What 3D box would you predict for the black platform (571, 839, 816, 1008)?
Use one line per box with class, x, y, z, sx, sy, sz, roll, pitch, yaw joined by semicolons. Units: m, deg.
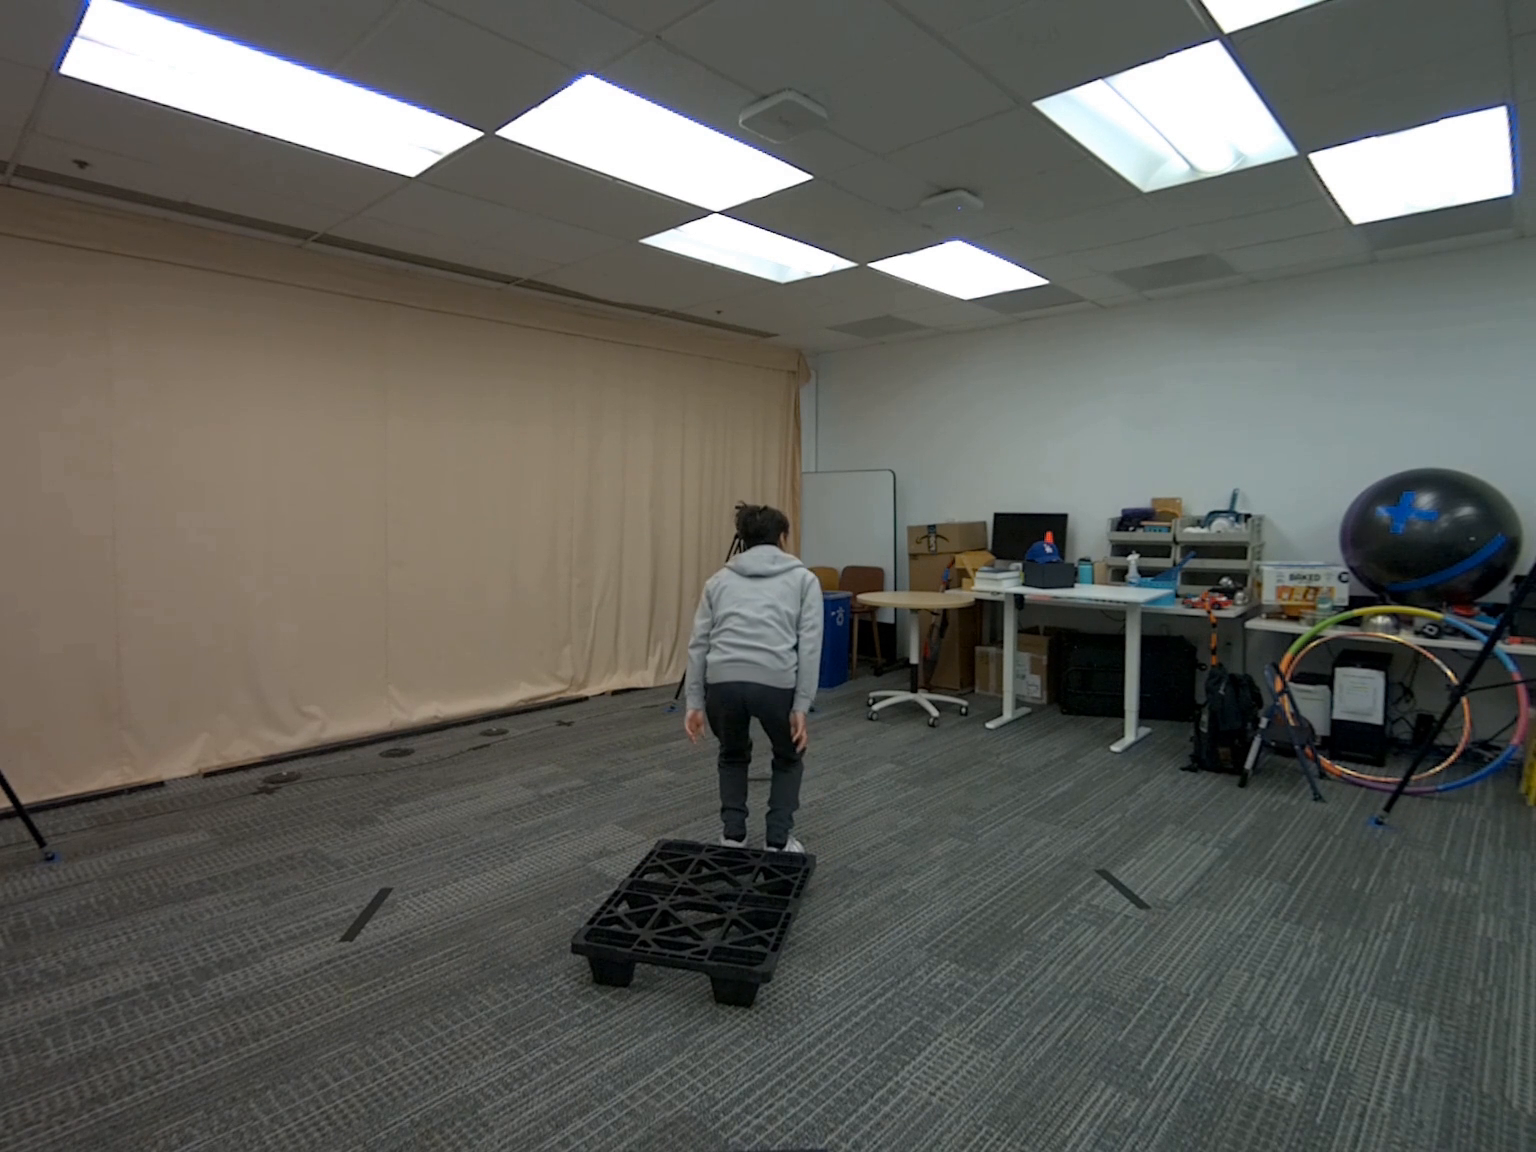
black platform;-0.197;1.100;2.743;0.615;0.143;0.795;2;5;14
